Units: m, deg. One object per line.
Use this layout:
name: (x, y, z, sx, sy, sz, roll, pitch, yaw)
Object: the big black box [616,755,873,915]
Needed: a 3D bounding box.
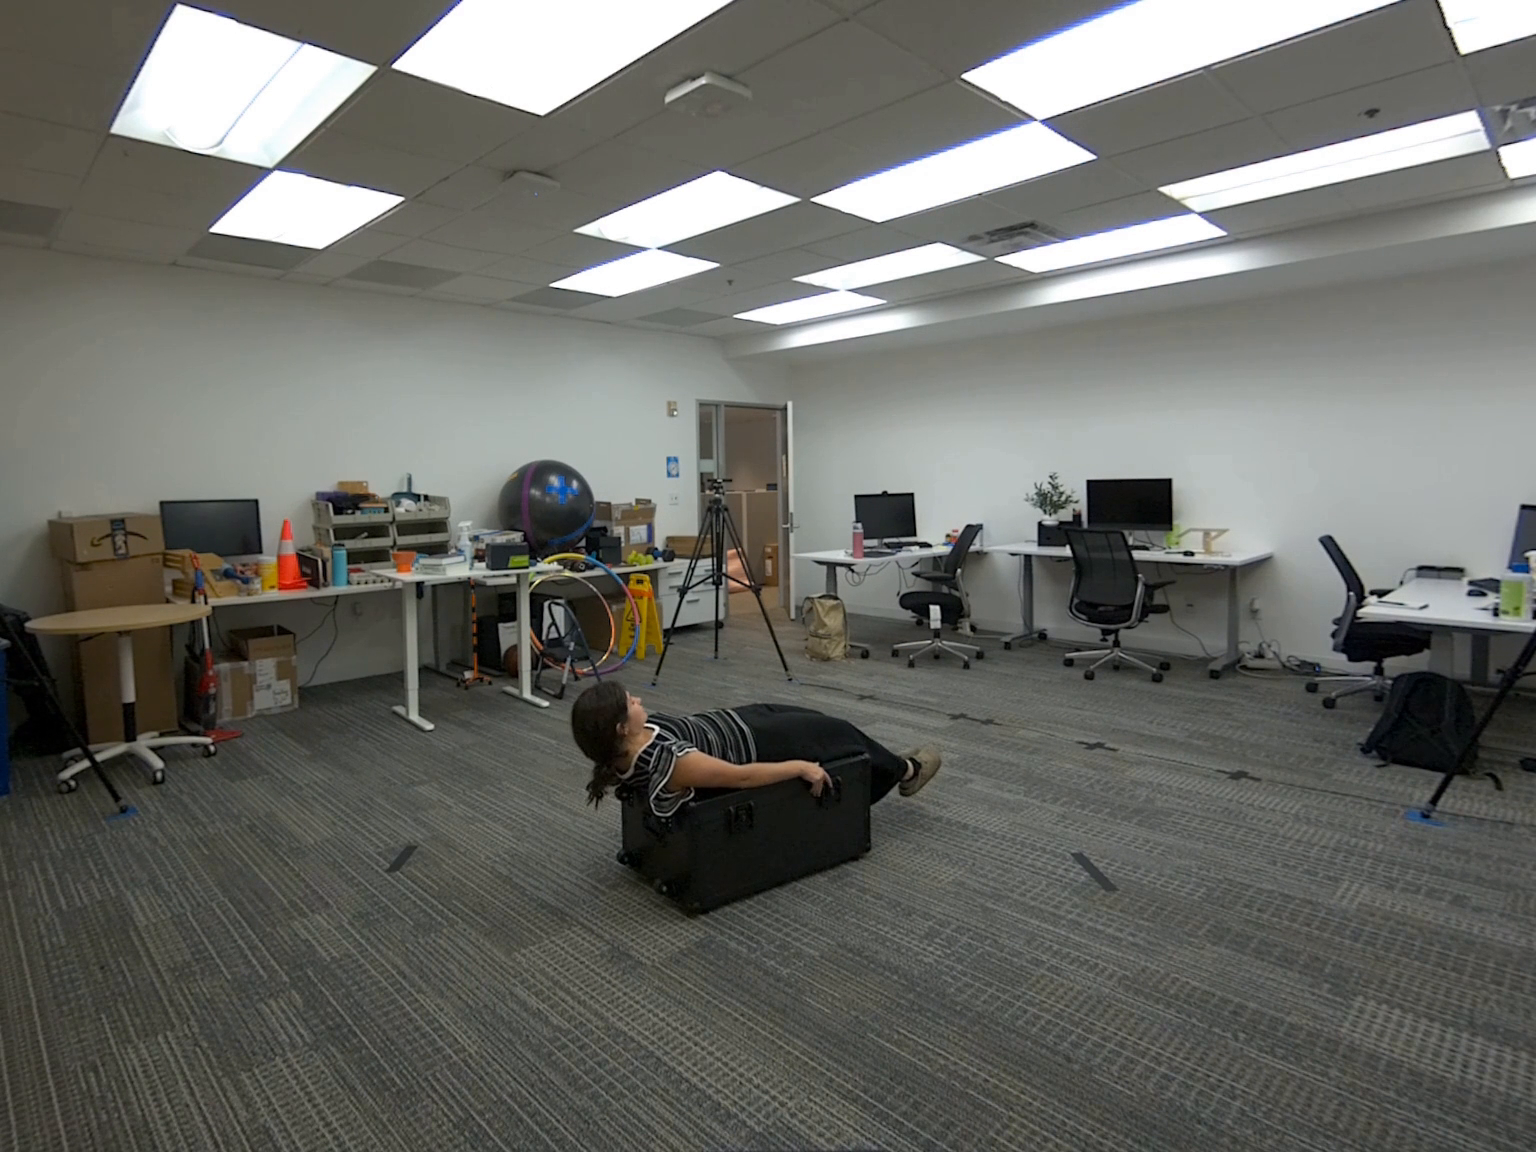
big black box: (-0.107, 0.868, 3.091, 0.839, 0.394, 0.537, -4, 7, -35)
